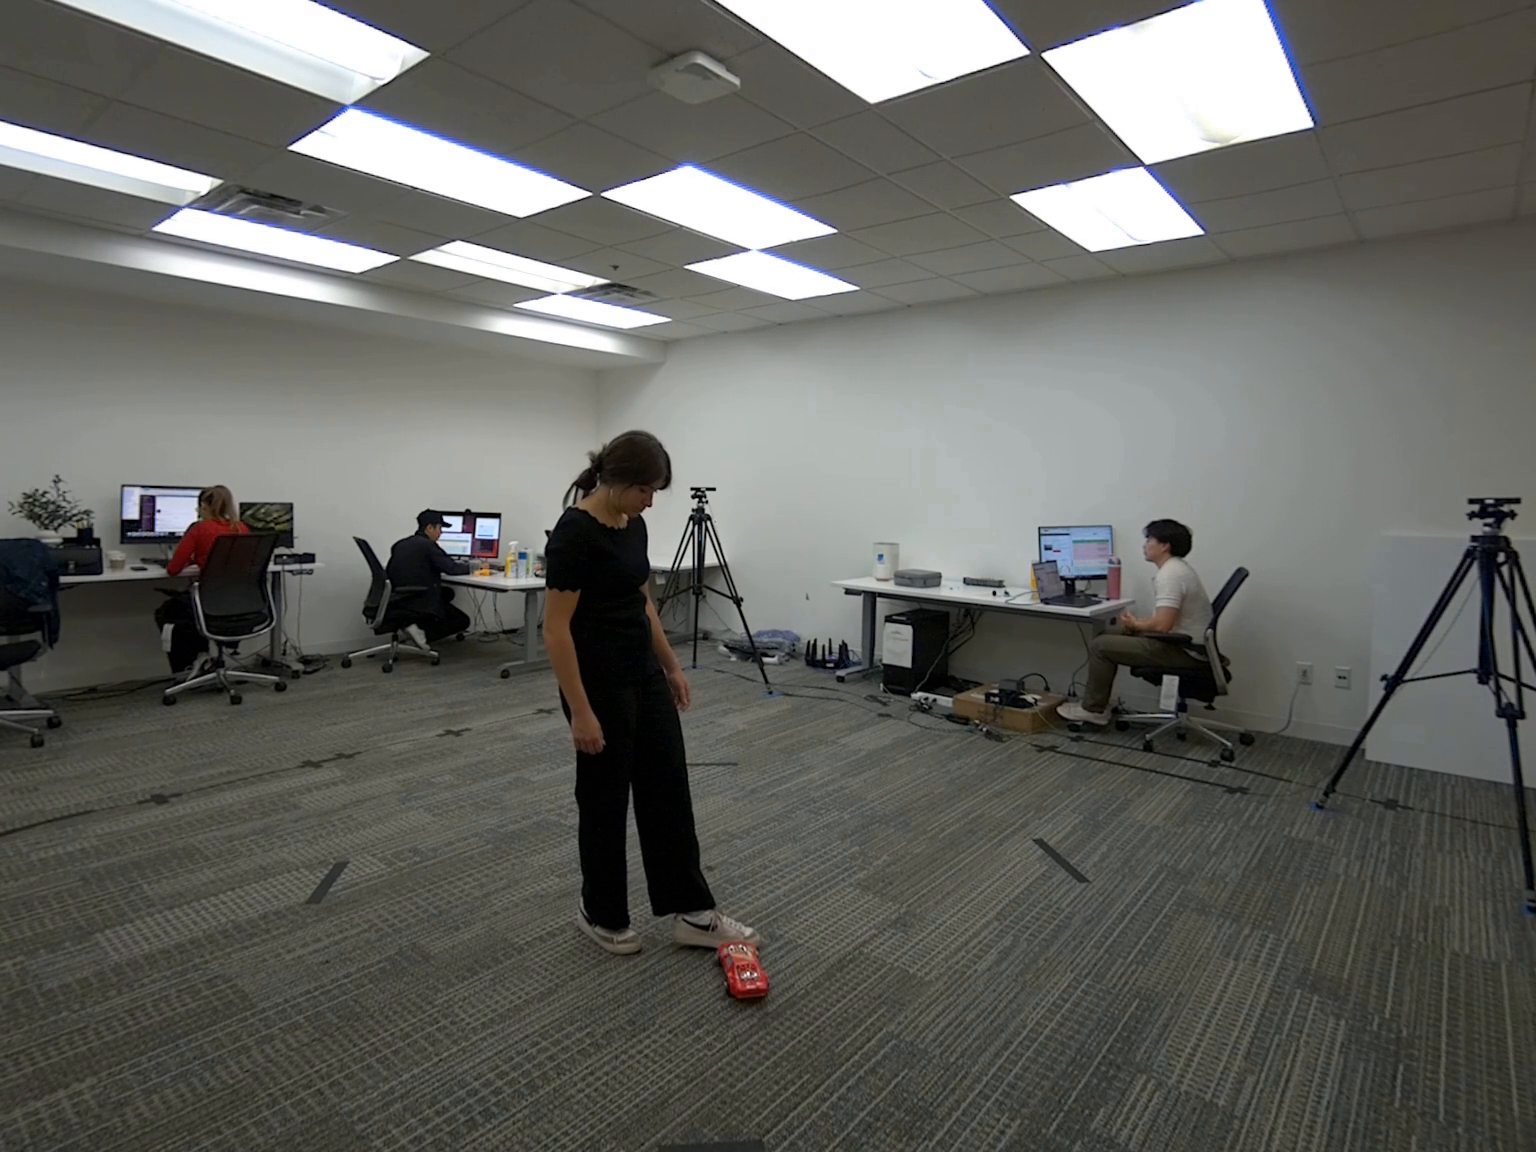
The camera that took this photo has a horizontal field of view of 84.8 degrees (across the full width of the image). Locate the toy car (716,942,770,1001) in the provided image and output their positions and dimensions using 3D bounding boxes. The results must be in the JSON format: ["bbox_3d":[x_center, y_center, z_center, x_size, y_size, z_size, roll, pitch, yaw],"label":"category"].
[{"bbox_3d":[-0.077,1.109,2.396,0.129,0.084,0.256,0,-5,-13],"label":"toy car"}]
